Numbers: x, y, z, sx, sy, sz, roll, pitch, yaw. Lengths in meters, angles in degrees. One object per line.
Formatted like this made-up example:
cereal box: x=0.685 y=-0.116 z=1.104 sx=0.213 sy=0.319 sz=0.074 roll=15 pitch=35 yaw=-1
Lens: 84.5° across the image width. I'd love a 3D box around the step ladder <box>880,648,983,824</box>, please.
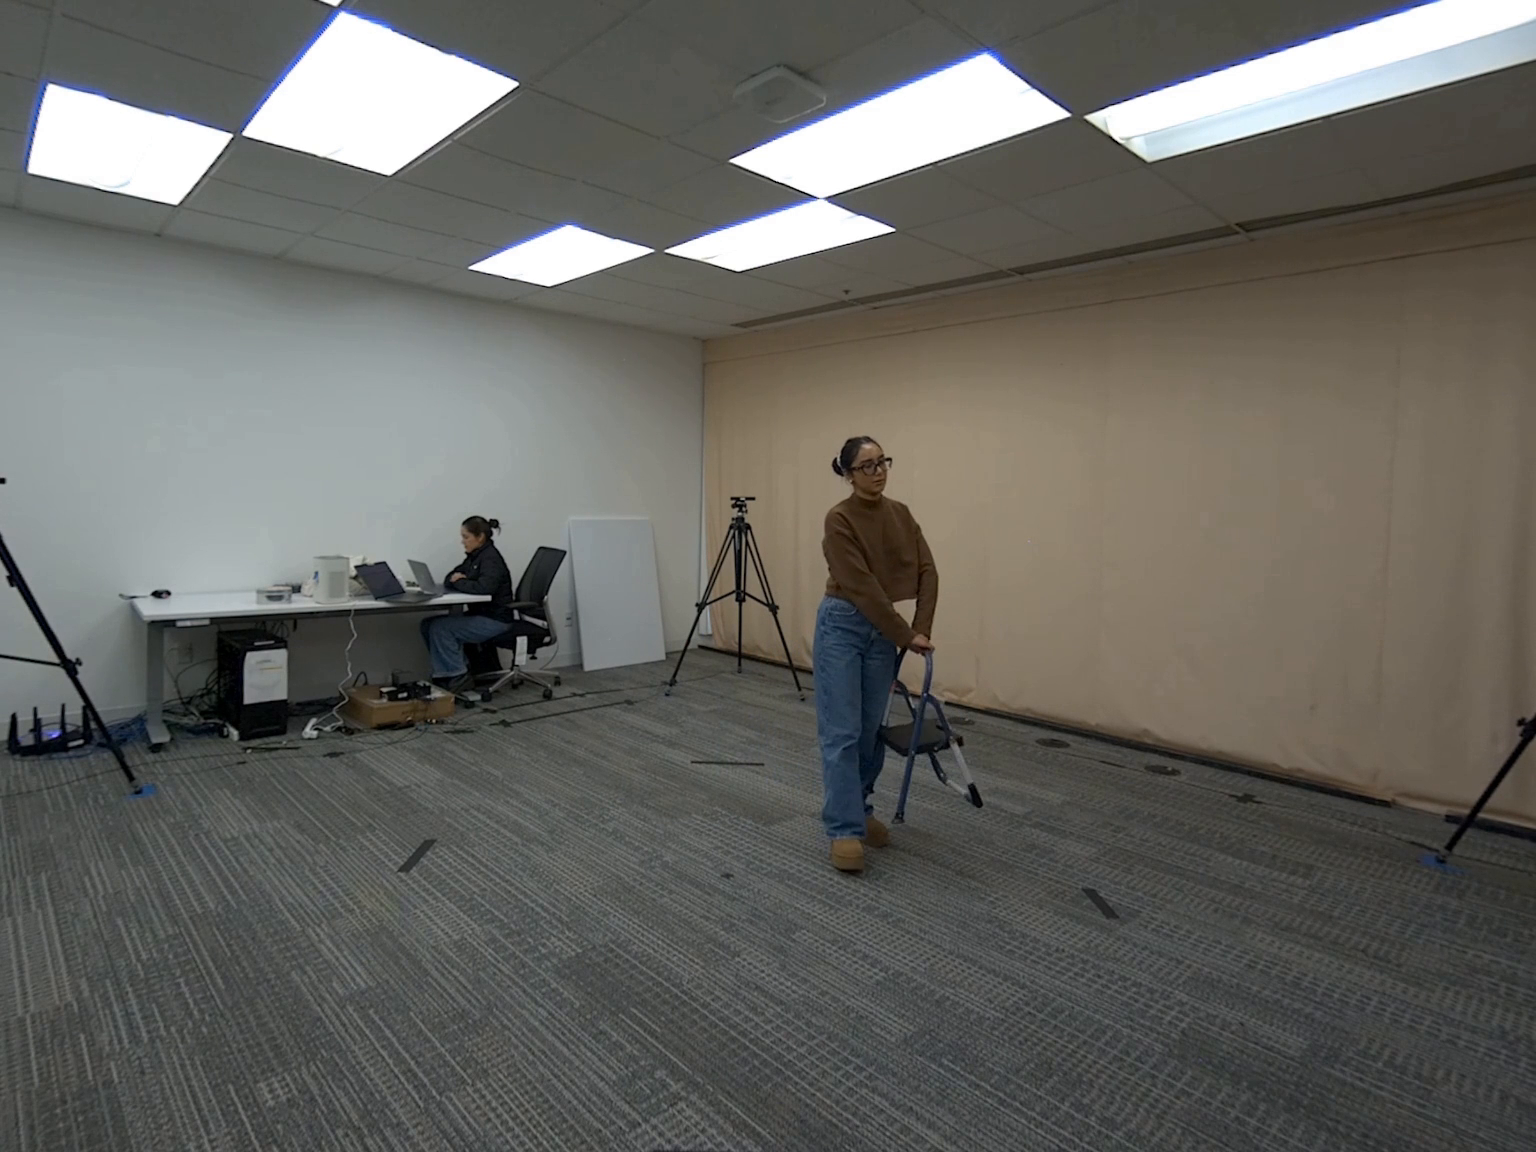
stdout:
step ladder: x=0.551 y=0.577 z=3.272 sx=0.347 sy=0.606 sz=0.433 roll=-9 pitch=1 yaw=-8
